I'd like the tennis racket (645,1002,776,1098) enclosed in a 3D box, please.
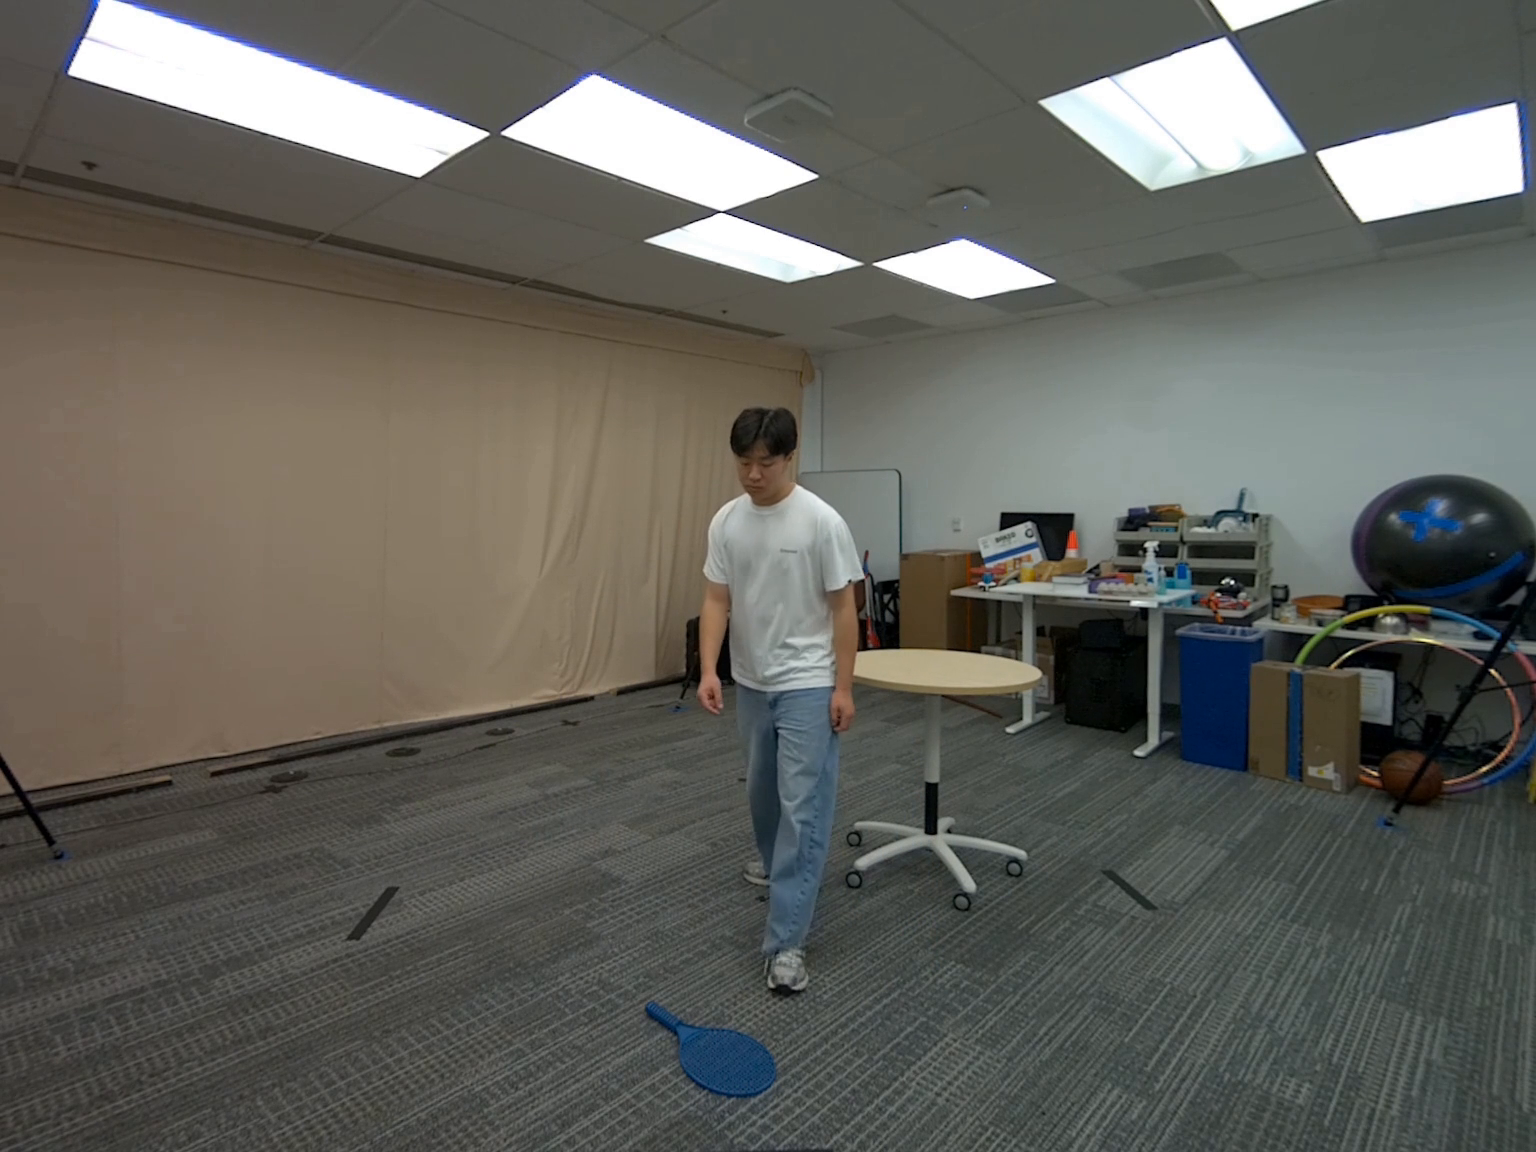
[{"bbox_3d":[-0.161,1.200,2.161,0.448,0.031,0.207,6,7,44],"label":"tennis racket"}]
